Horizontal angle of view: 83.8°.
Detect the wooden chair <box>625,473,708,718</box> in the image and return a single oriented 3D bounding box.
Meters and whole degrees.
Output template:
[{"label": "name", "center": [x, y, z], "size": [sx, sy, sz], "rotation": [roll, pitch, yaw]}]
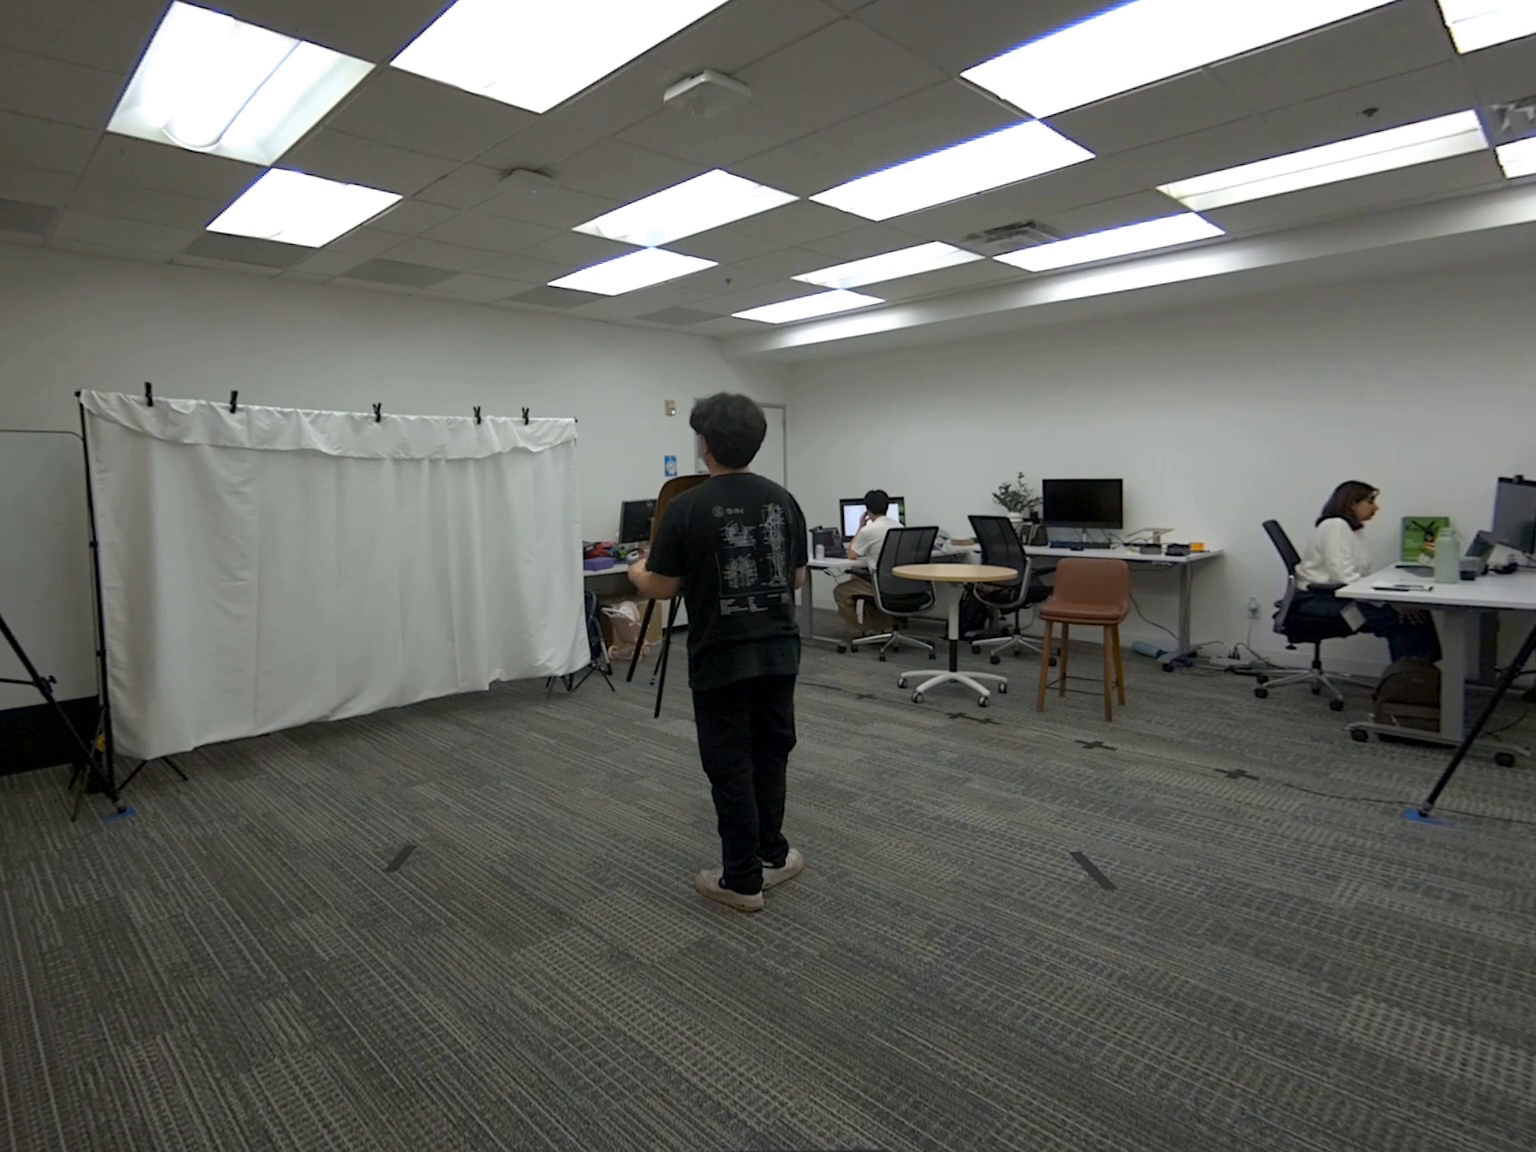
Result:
[{"label": "wooden chair", "center": [-0.265, 0.025, 3.188], "size": [0.470, 0.868, 0.537], "rotation": [-3, 12, -20]}]
